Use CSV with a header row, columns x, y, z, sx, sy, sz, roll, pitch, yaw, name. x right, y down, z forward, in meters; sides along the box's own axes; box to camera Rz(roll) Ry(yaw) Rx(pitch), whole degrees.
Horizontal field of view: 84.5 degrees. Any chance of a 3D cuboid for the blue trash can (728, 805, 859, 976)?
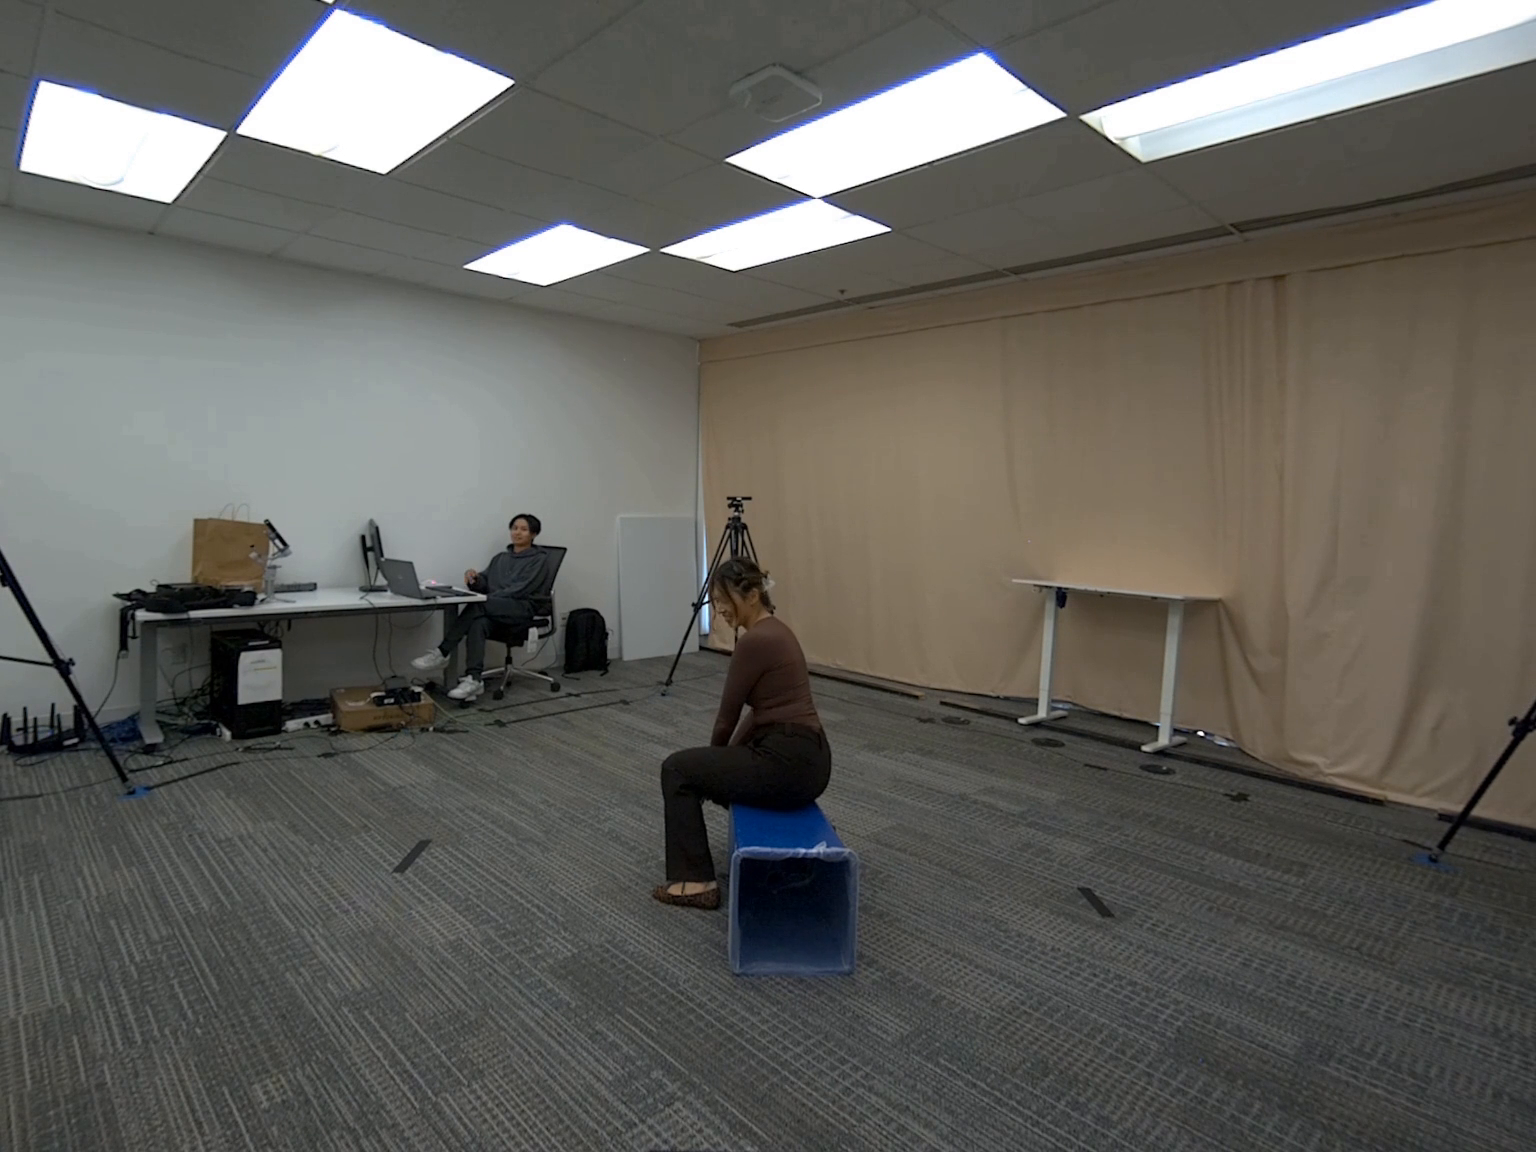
x,y,z,sx,sy,sz,roll,pitch,yaw,name
0.024,0.972,2.804,0.372,0.378,0.717,1,2,-7,blue trash can
